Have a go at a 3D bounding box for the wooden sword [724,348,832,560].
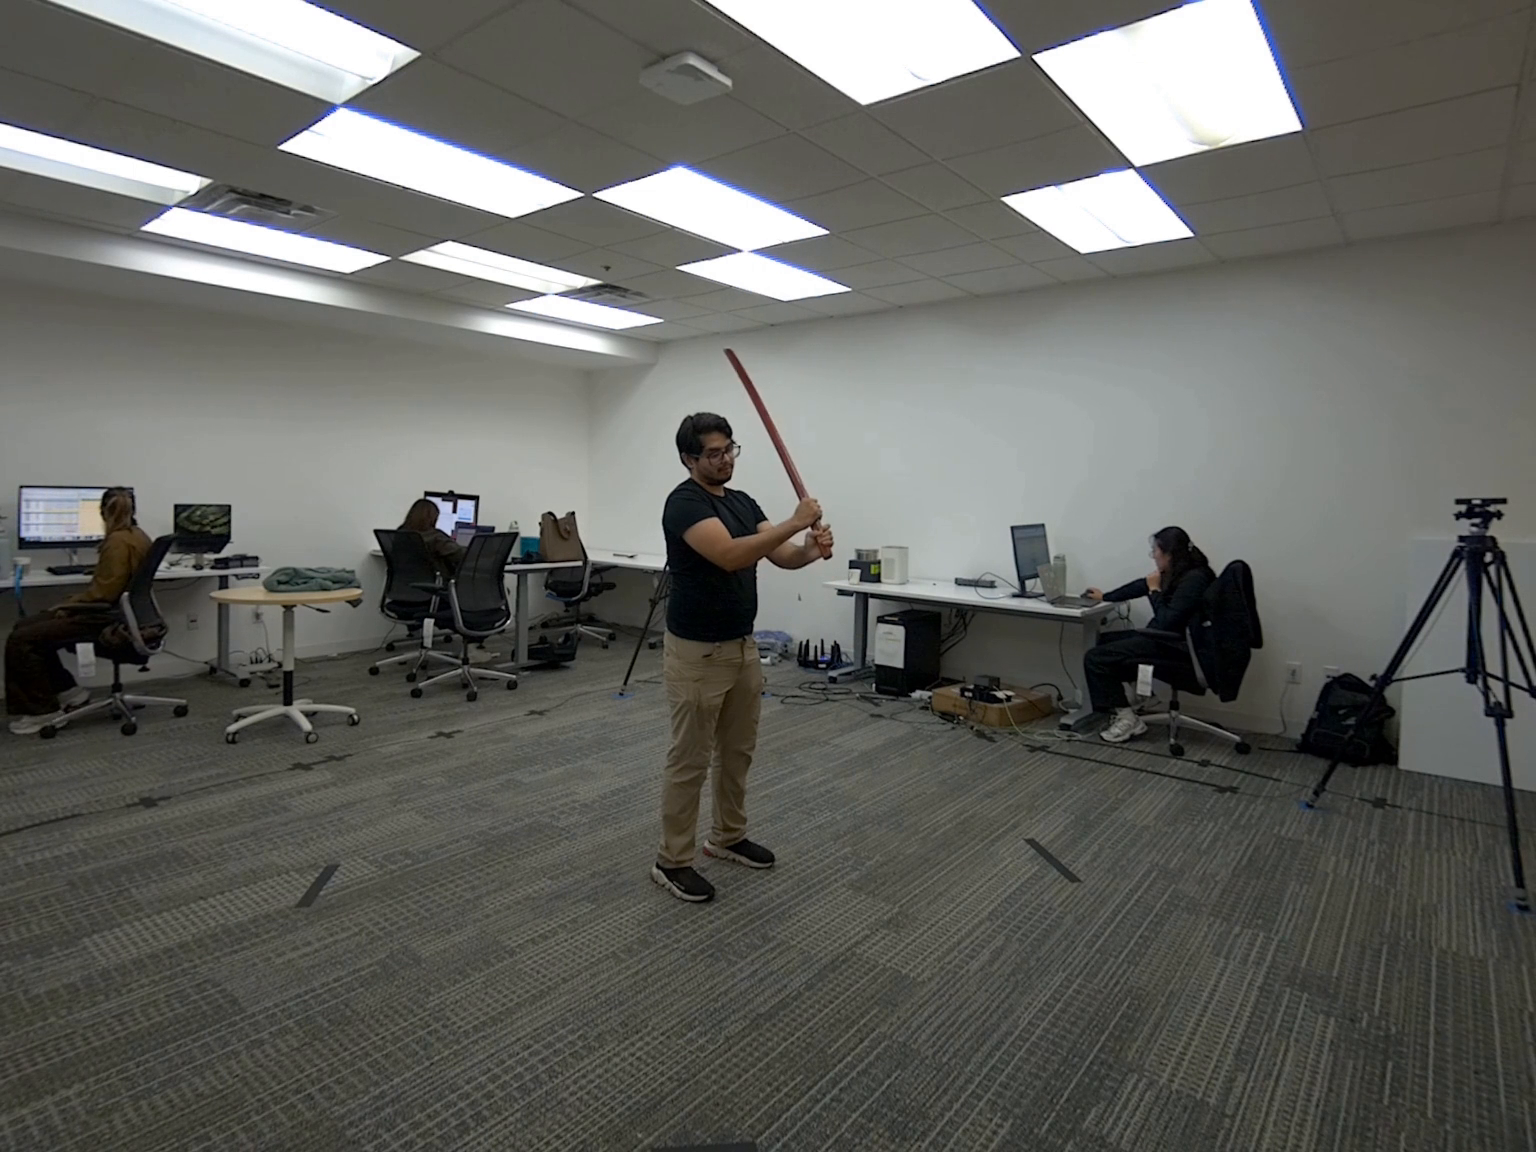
[{"bbox_3d":[0.023,-0.479,3.016,0.023,1.061,0.051,9,-44,-41],"label":"wooden sword"}]
